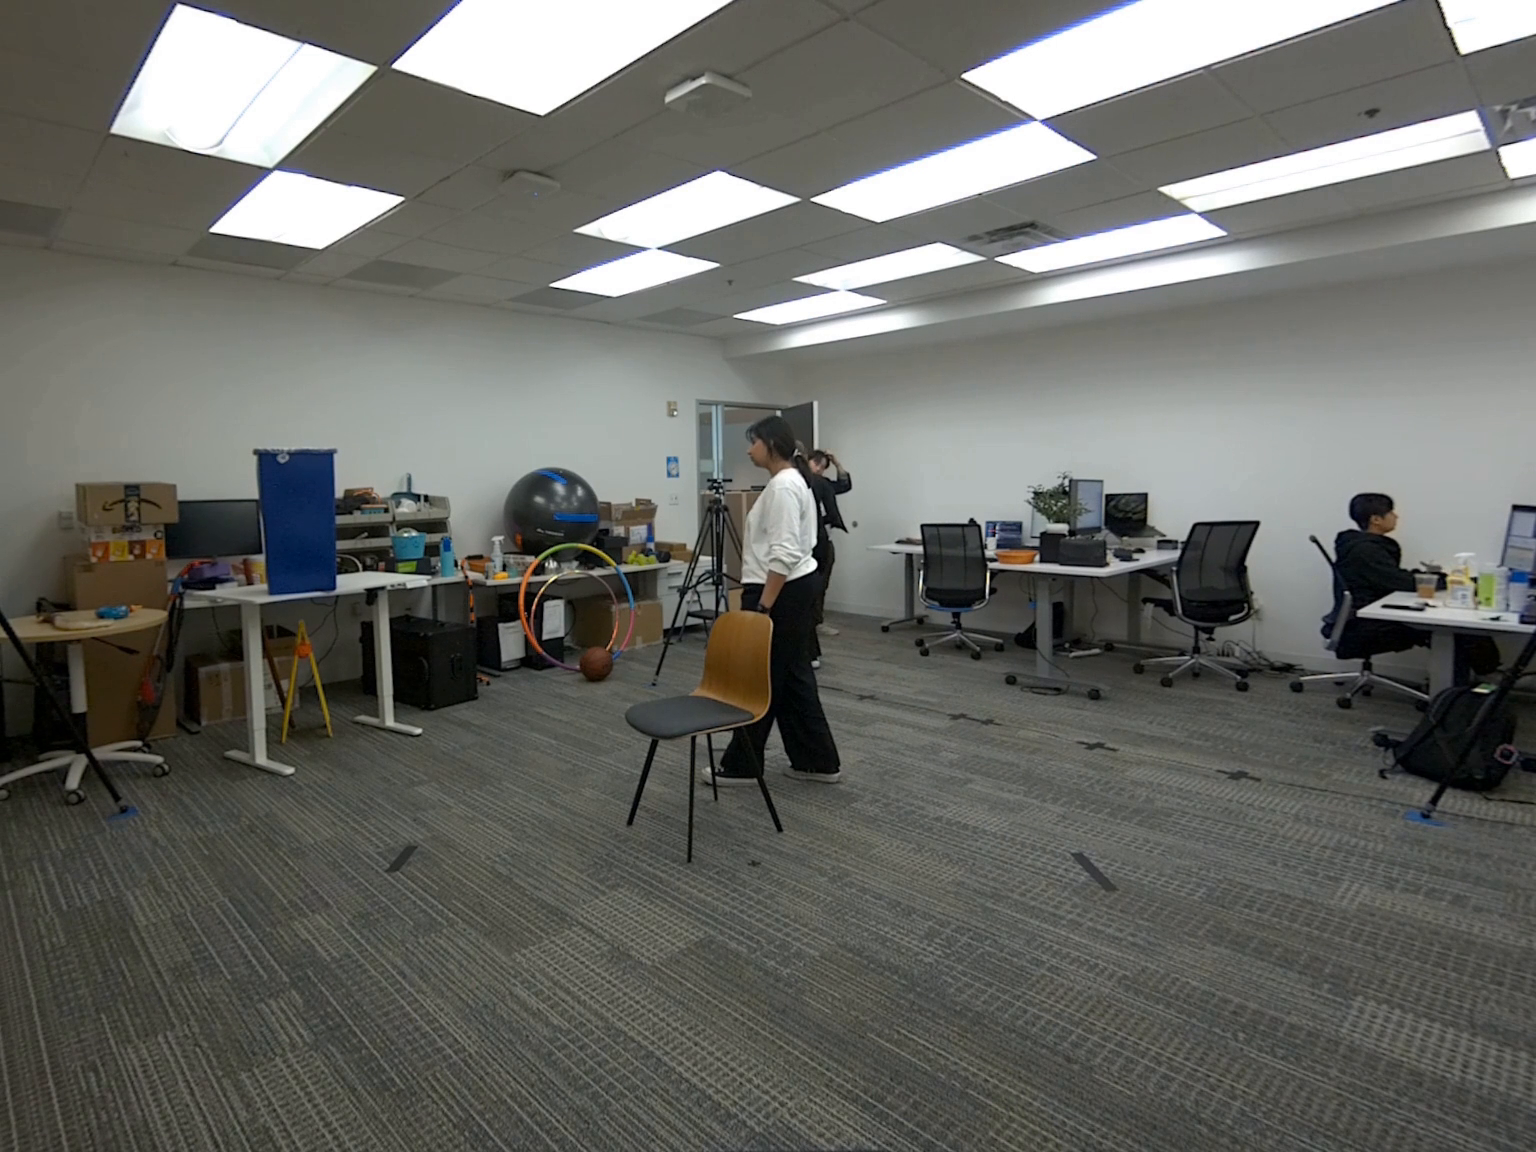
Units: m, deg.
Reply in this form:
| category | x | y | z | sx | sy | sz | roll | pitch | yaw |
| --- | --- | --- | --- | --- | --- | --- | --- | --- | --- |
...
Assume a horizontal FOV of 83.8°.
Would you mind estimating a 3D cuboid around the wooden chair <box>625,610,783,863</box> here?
| category | x | y | z | sx | sy | sz | roll | pitch | yaw |
| --- | --- | --- | --- | --- | --- | --- | --- | --- | --- |
| wooden chair | -0.269 | 0.590 | 3.393 | 0.508 | 0.876 | 0.492 | 2 | 2 | -38 |
